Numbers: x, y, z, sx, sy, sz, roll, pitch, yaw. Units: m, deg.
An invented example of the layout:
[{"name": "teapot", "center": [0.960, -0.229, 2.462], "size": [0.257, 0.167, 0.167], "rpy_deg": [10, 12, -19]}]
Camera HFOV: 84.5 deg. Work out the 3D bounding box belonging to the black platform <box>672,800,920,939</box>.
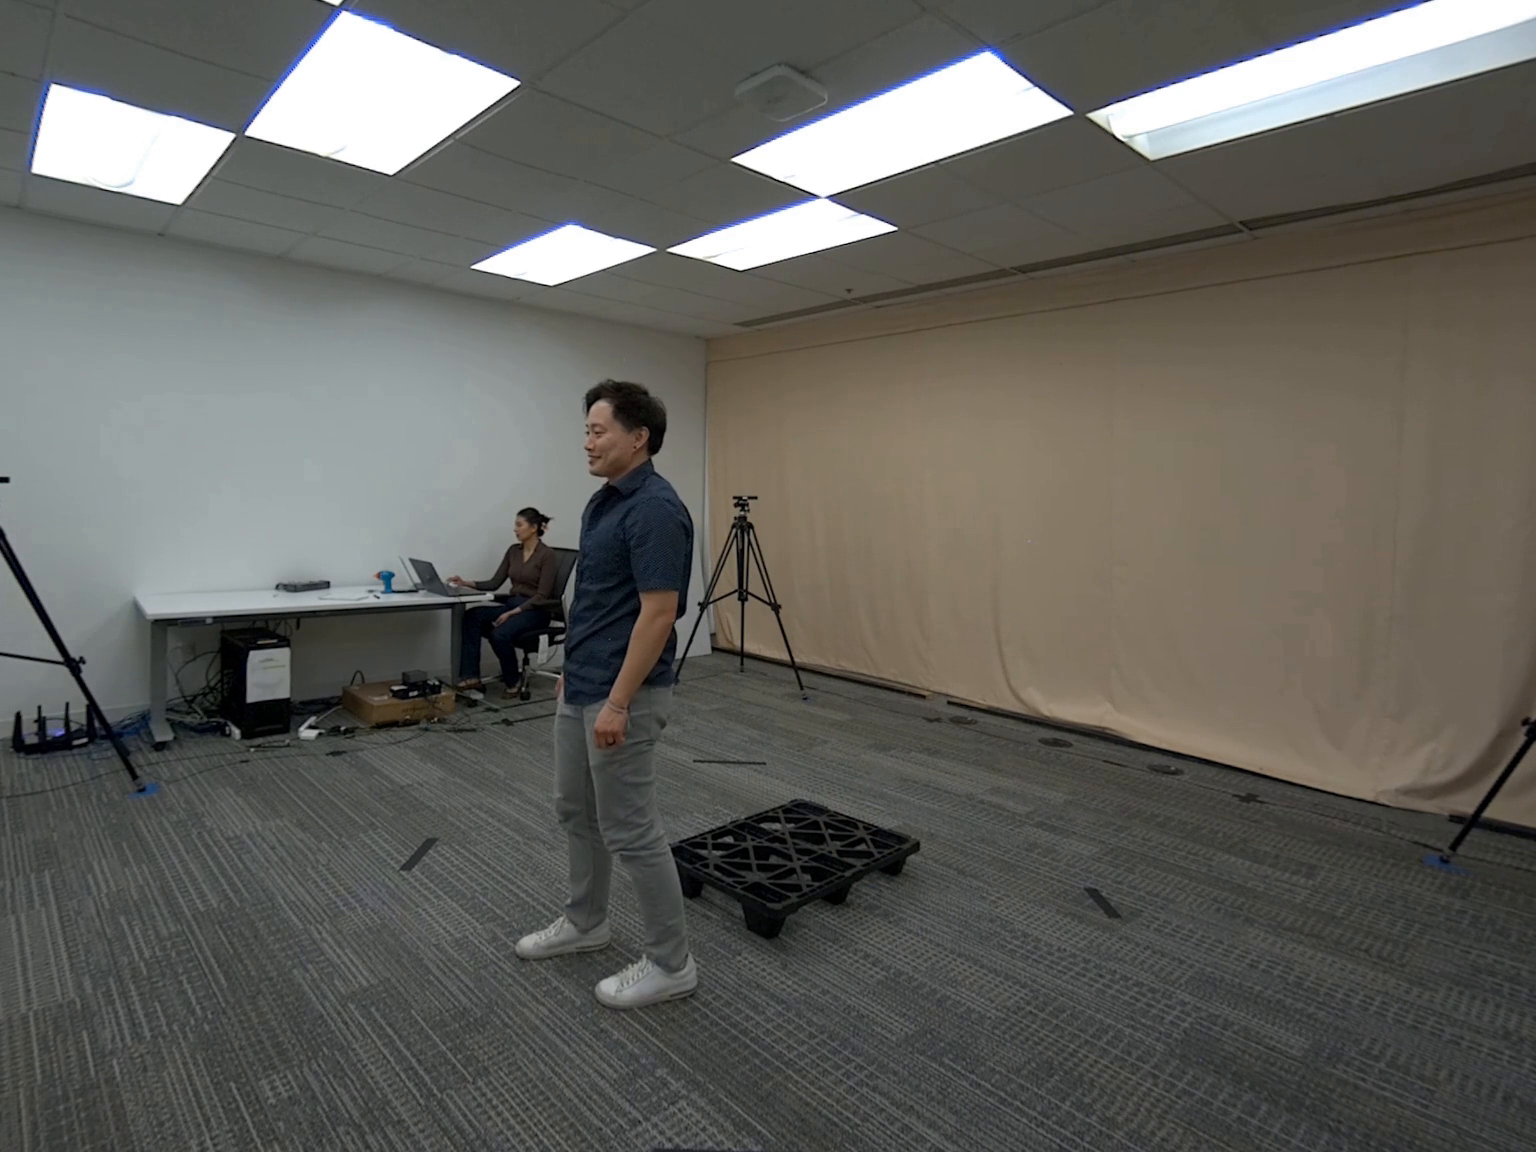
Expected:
[{"name": "black platform", "center": [0.082, 1.044, 3.064], "size": [0.621, 0.143, 0.787], "rpy_deg": [7, 8, 44]}]
